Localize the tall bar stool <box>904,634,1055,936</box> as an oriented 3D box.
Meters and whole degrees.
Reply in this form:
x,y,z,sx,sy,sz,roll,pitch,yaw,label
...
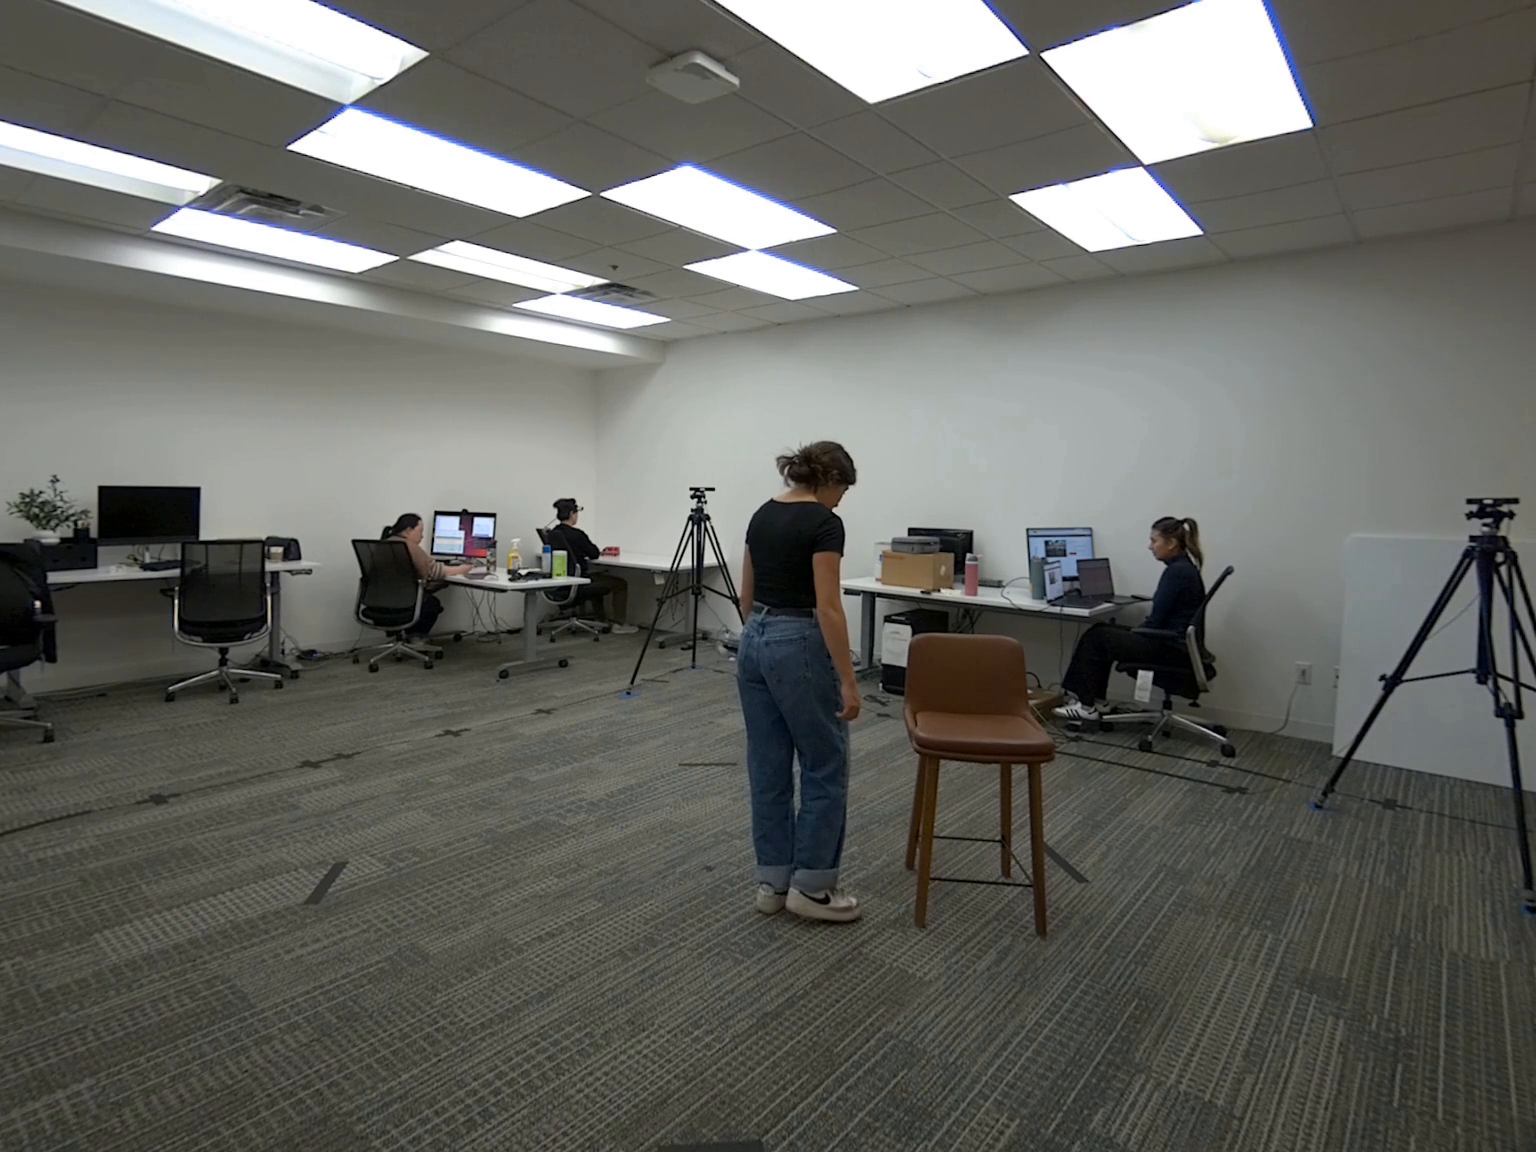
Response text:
x,y,z,sx,sy,sz,roll,pitch,yaw,label
0.696,0.675,2.901,0.460,0.888,0.465,2,2,5,tall bar stool
